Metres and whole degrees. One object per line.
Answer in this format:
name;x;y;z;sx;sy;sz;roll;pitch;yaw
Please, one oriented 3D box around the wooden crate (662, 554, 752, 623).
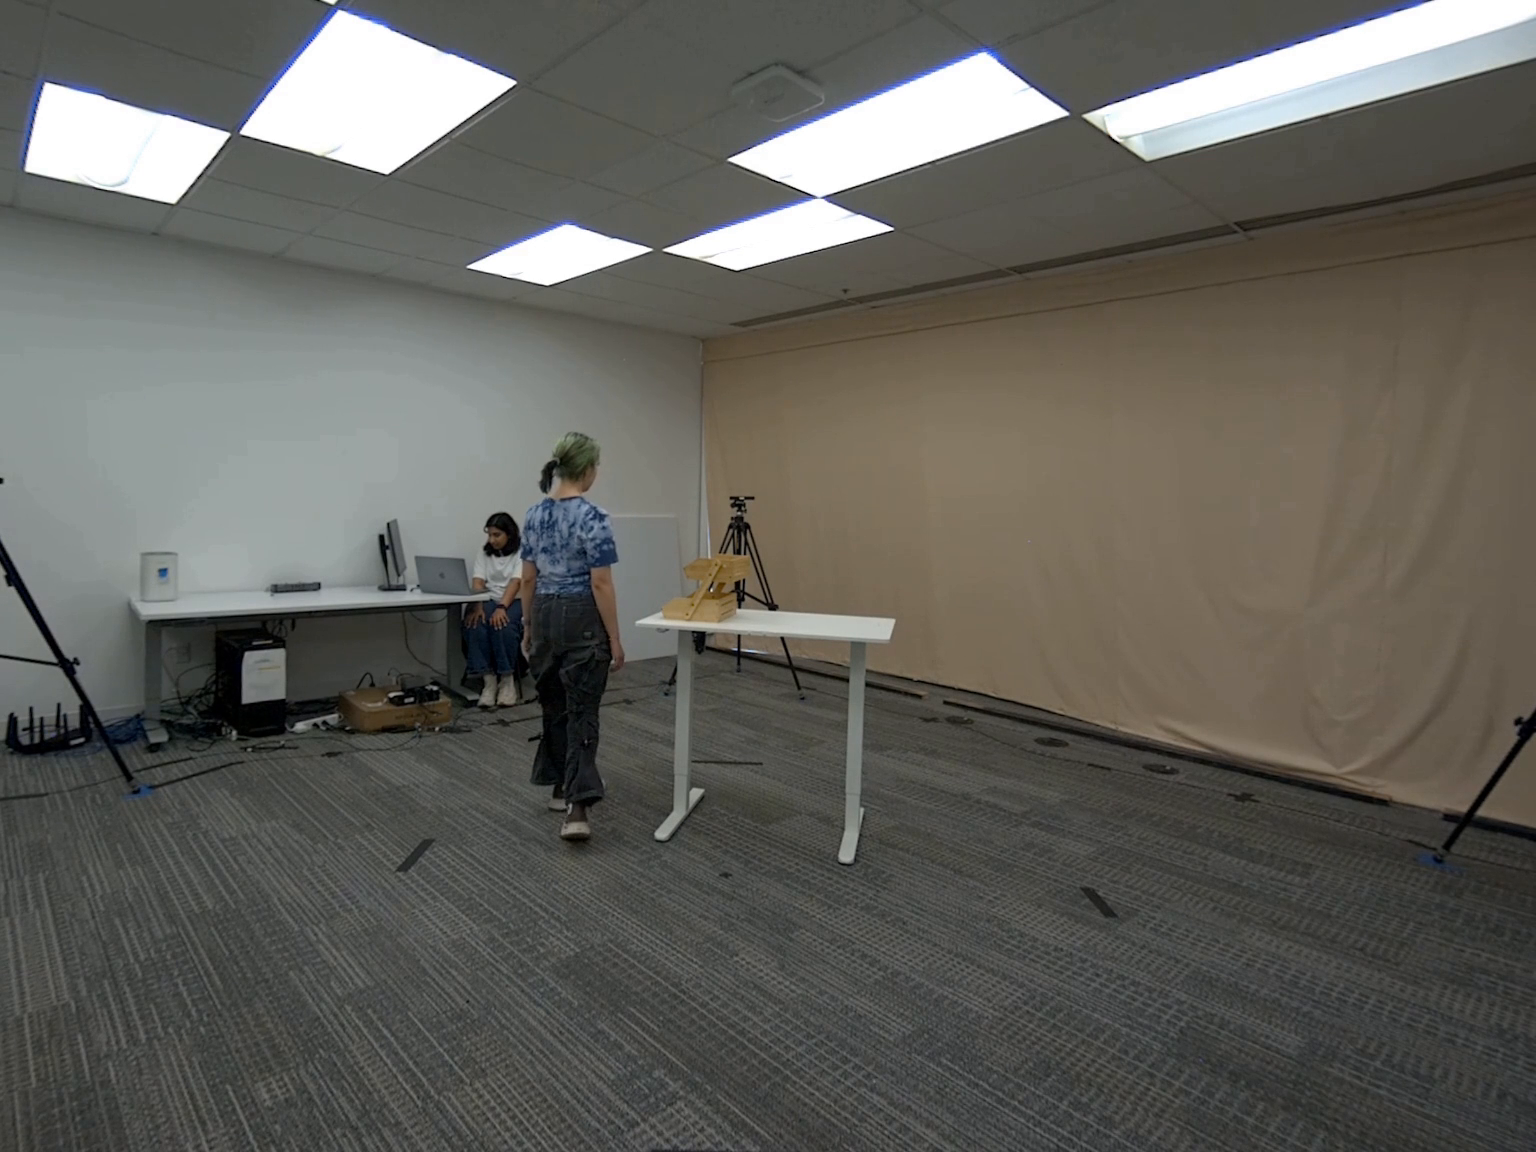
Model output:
wooden crate;-0.279;0.044;3.585;0.305;0.272;0.322;2;4;12
